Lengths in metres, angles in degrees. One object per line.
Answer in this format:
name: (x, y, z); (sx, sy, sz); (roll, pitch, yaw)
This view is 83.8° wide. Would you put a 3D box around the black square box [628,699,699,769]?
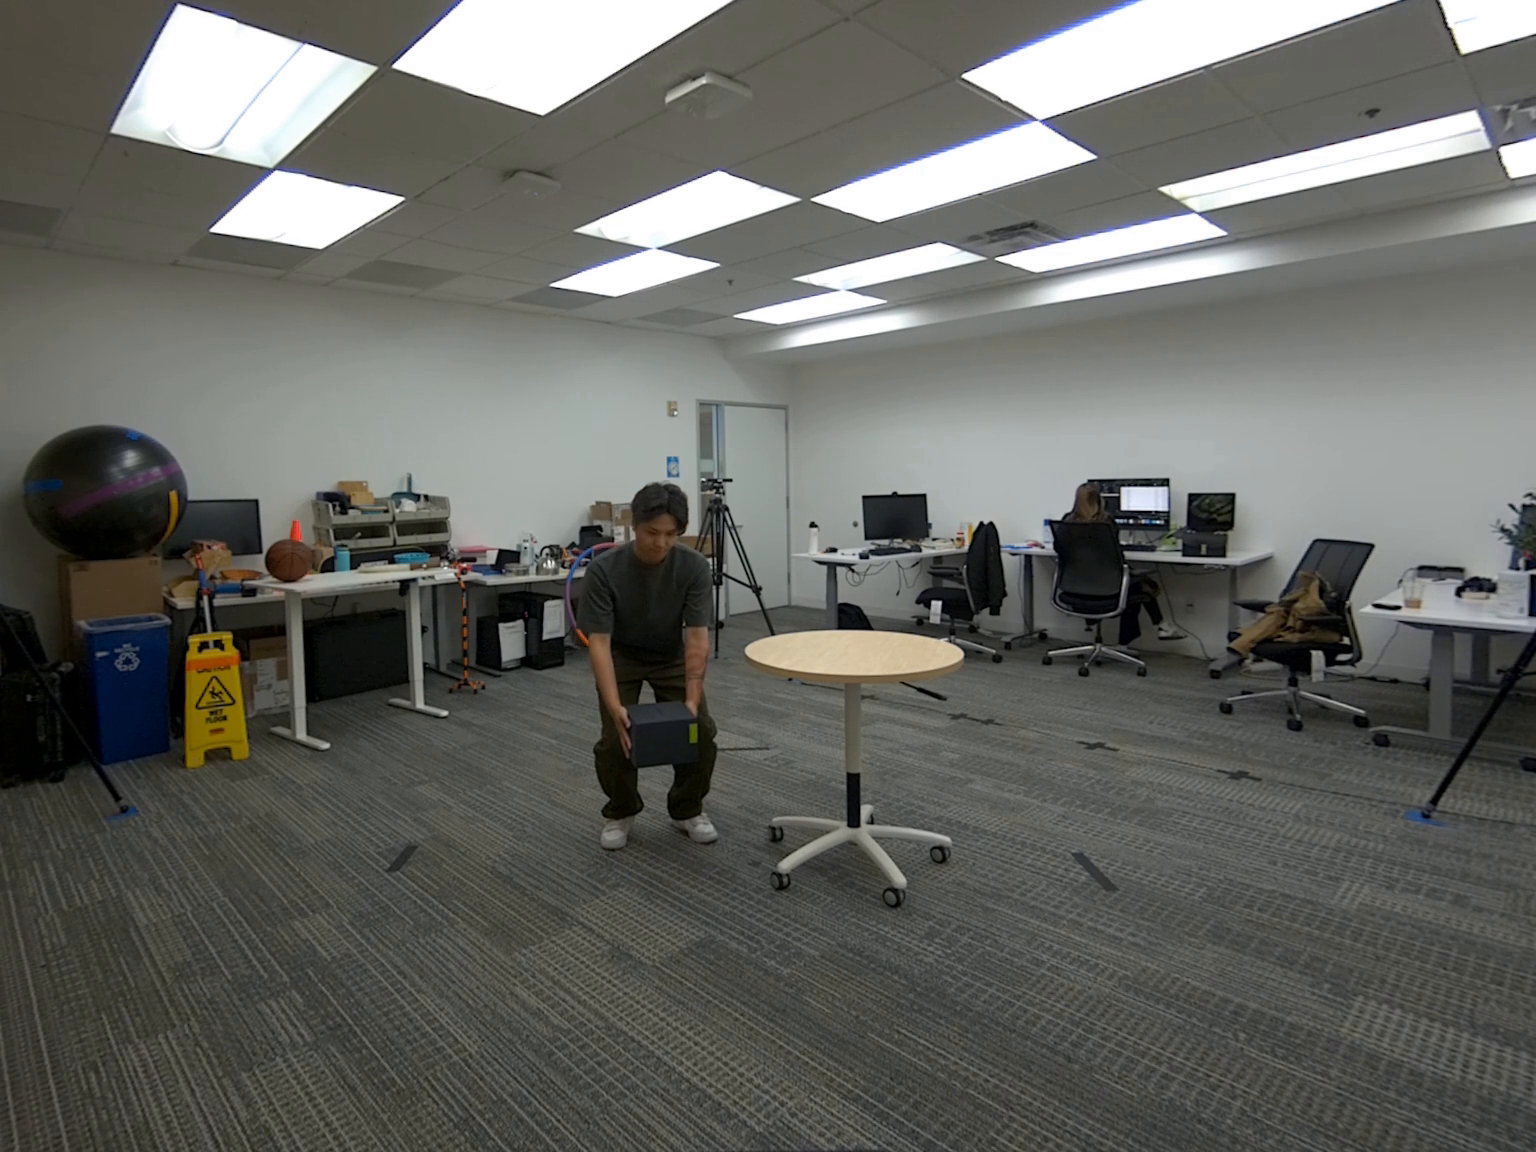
black square box: (-0.378, 0.551, 2.986); (0.214, 0.155, 0.232); (-3, 7, -17)
